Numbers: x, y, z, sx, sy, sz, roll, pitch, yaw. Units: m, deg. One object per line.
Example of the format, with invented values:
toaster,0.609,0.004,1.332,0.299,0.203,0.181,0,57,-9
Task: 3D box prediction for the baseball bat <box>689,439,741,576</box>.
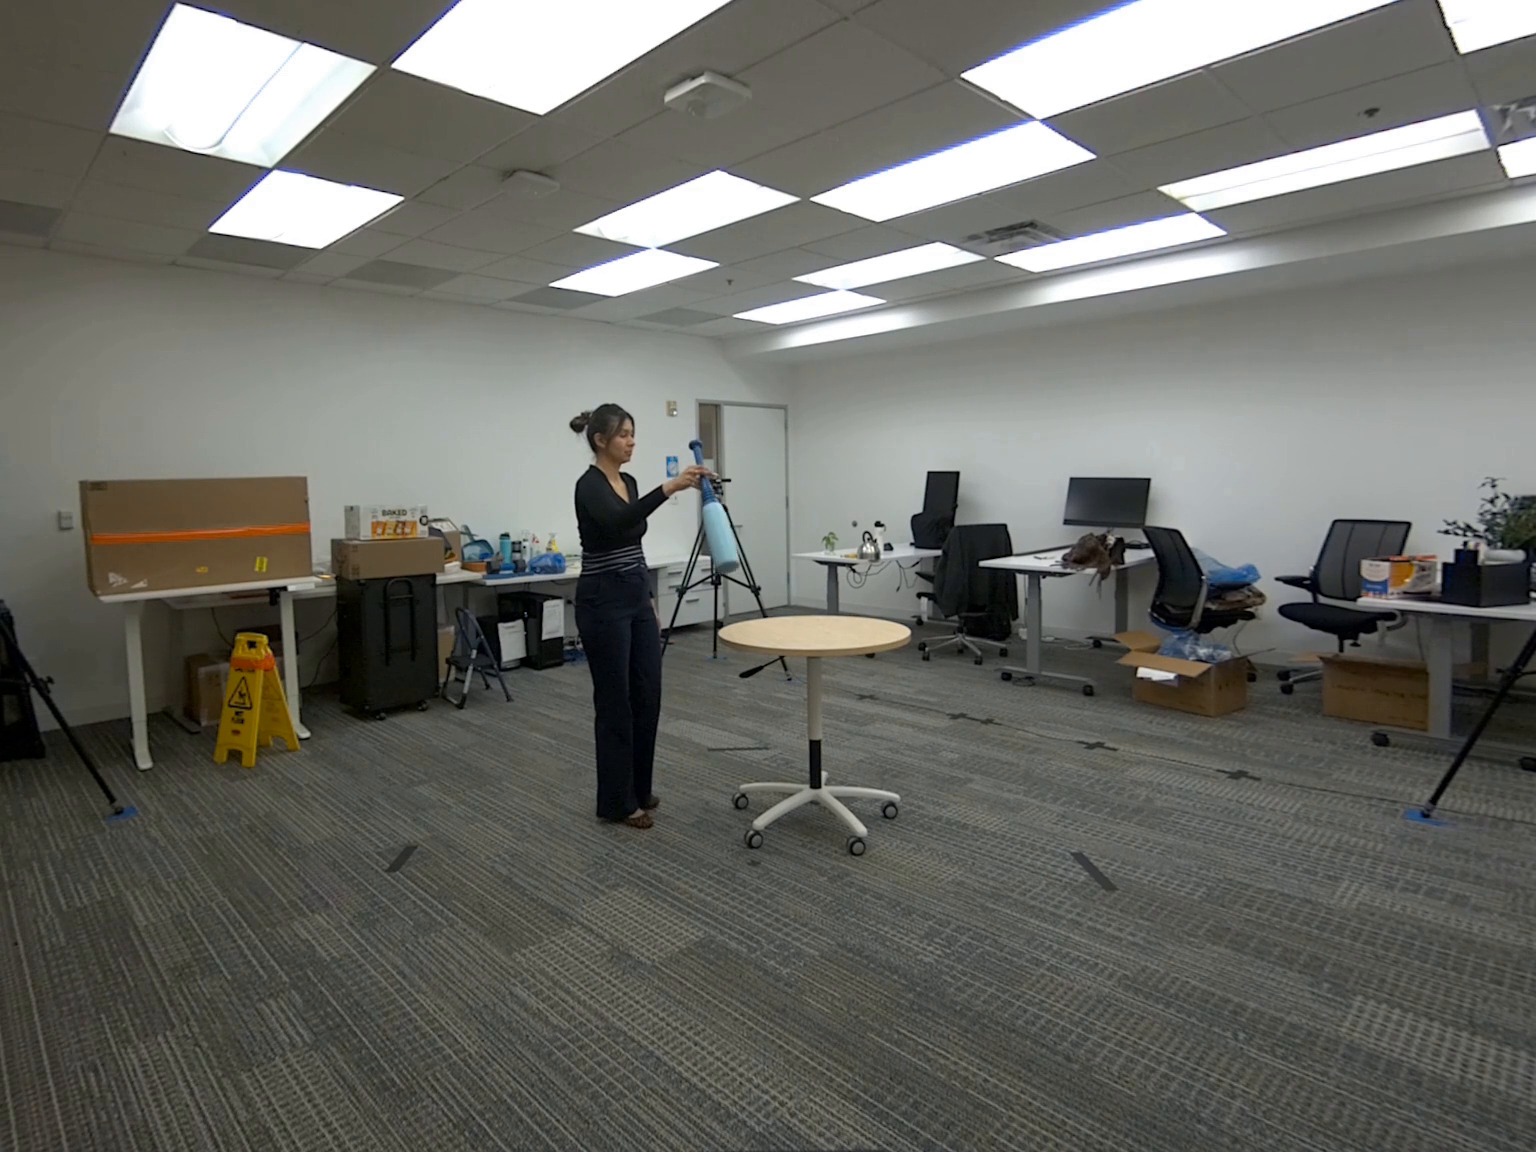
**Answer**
baseball bat,-0.192,-0.262,2.986,0.088,0.559,0.087,-12,-29,-8
